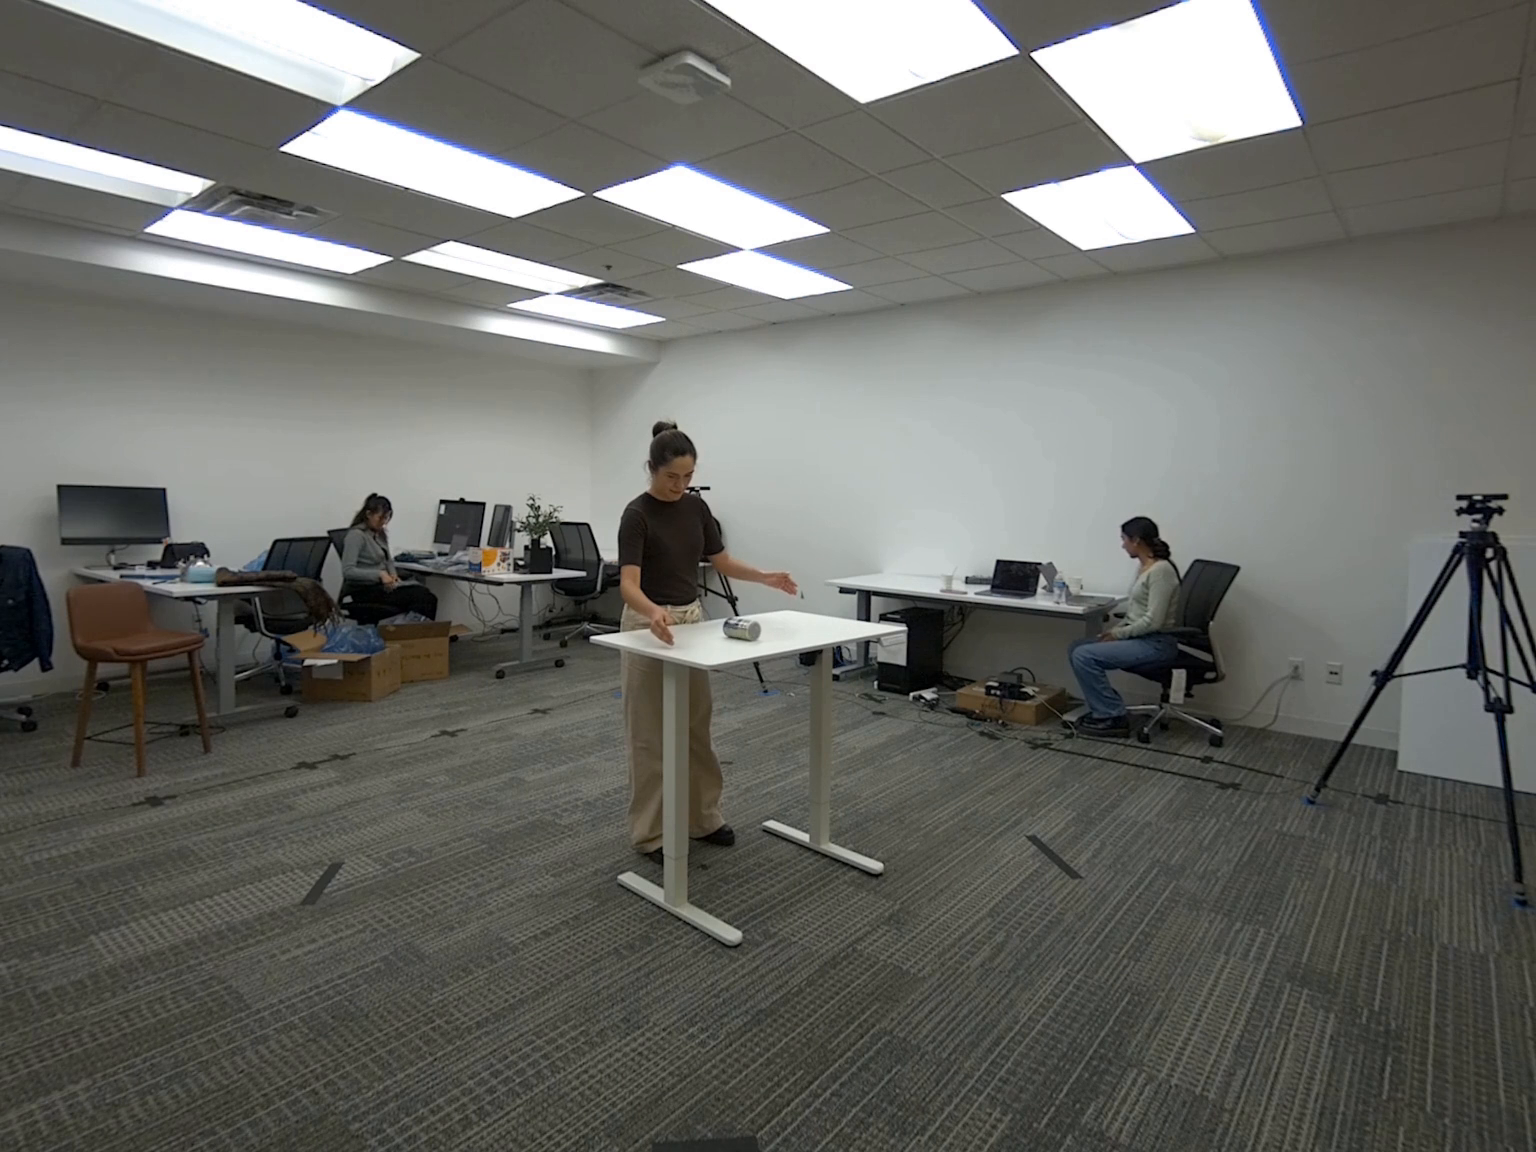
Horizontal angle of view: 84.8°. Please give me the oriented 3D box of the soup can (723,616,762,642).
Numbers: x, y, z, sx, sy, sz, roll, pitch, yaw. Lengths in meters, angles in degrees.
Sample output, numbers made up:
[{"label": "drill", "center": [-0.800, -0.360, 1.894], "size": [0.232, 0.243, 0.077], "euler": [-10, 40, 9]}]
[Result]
[{"label": "soup can", "center": [-0.099, 0.176, 2.860], "size": [0.125, 0.067, 0.065], "euler": [2, 4, 36]}]
